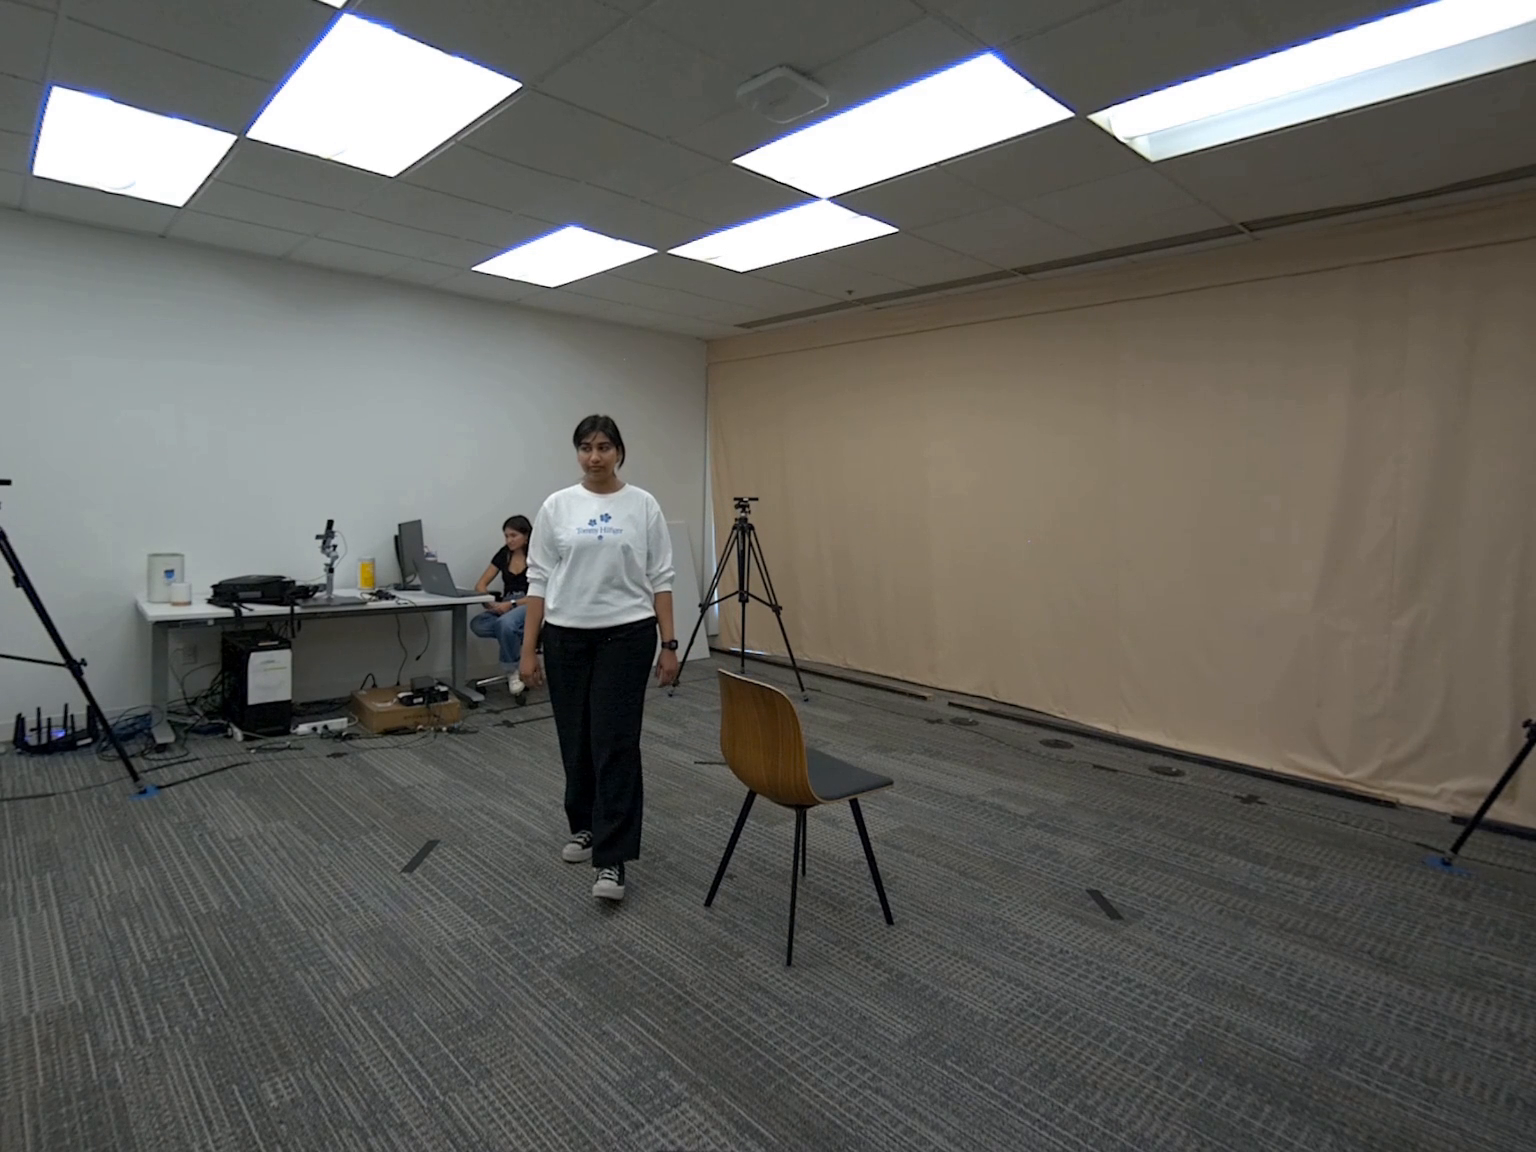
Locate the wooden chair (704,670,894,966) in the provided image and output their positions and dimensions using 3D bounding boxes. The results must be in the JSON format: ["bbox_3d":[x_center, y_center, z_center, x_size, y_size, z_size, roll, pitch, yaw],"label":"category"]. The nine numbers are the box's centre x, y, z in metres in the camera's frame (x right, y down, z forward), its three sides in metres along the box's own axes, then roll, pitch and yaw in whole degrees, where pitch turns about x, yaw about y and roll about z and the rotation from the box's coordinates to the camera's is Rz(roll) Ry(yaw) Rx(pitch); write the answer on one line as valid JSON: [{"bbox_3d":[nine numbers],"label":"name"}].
[{"bbox_3d":[0.110,0.716,2.793,0.512,0.873,0.490,-7,7,-37],"label":"wooden chair"}]
